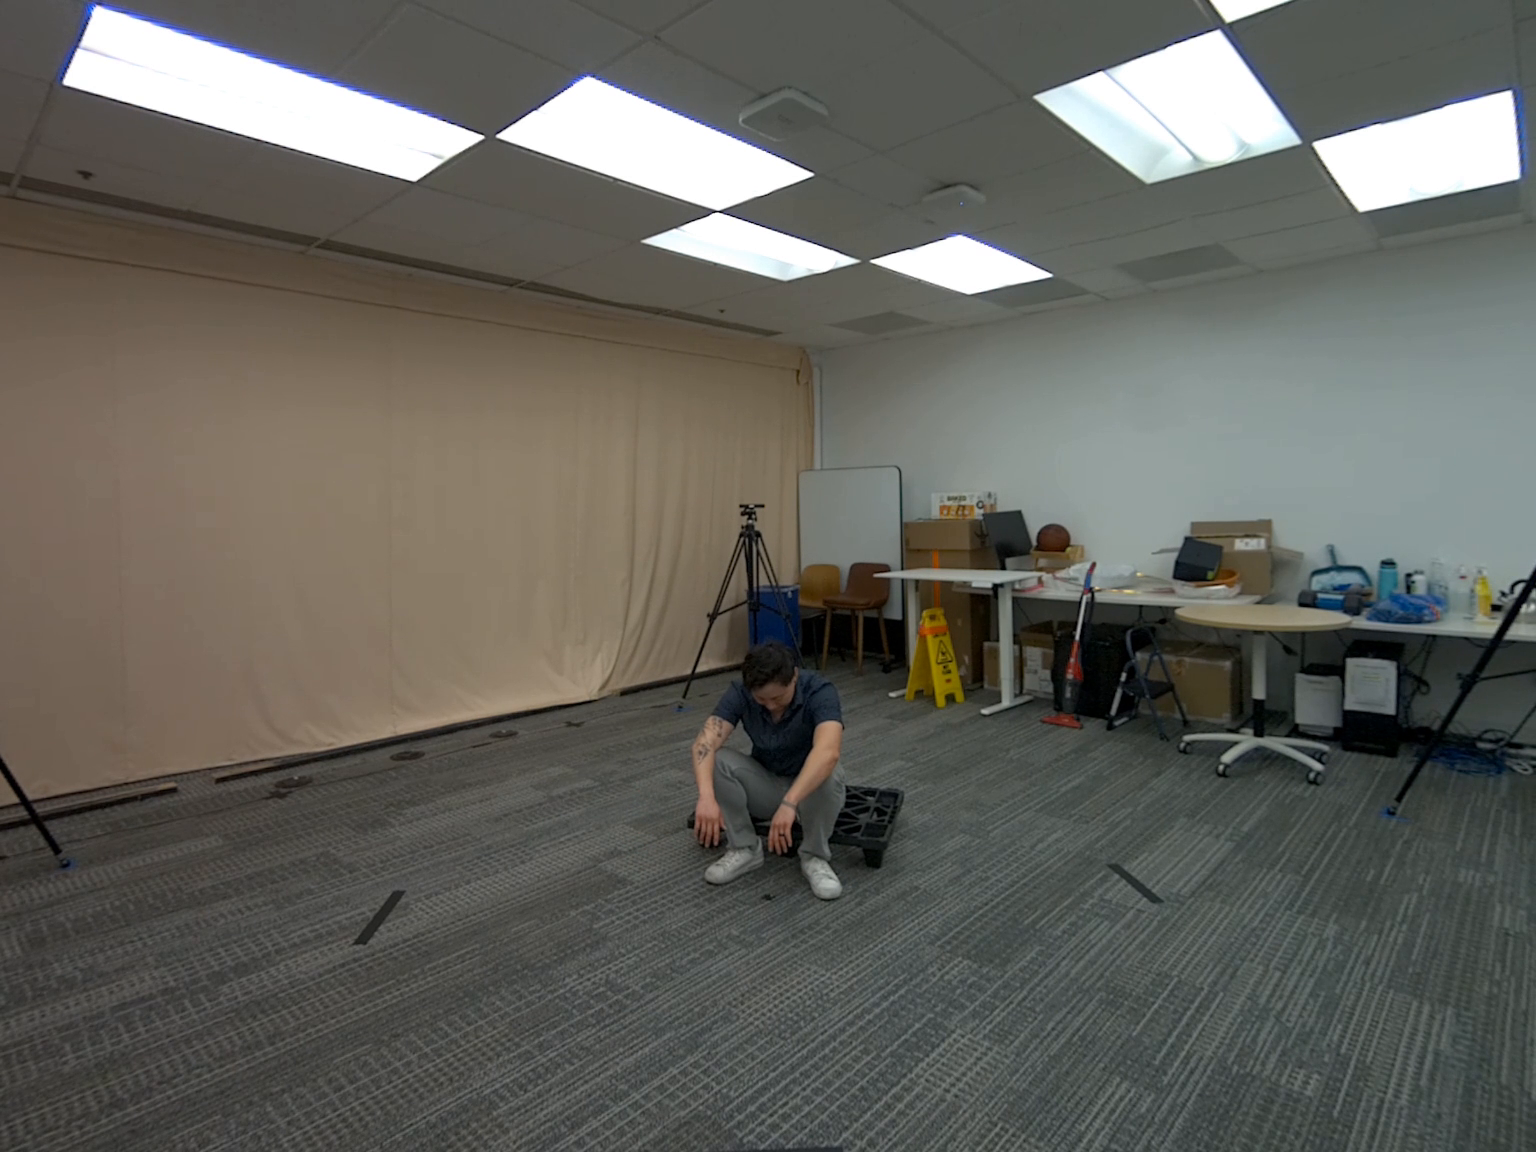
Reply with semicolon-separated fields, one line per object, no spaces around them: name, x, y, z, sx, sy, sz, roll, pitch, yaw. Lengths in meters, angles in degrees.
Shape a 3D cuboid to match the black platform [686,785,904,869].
black platform;0.141;1.022;3.530;0.821;0.143;0.595;1;5;17
